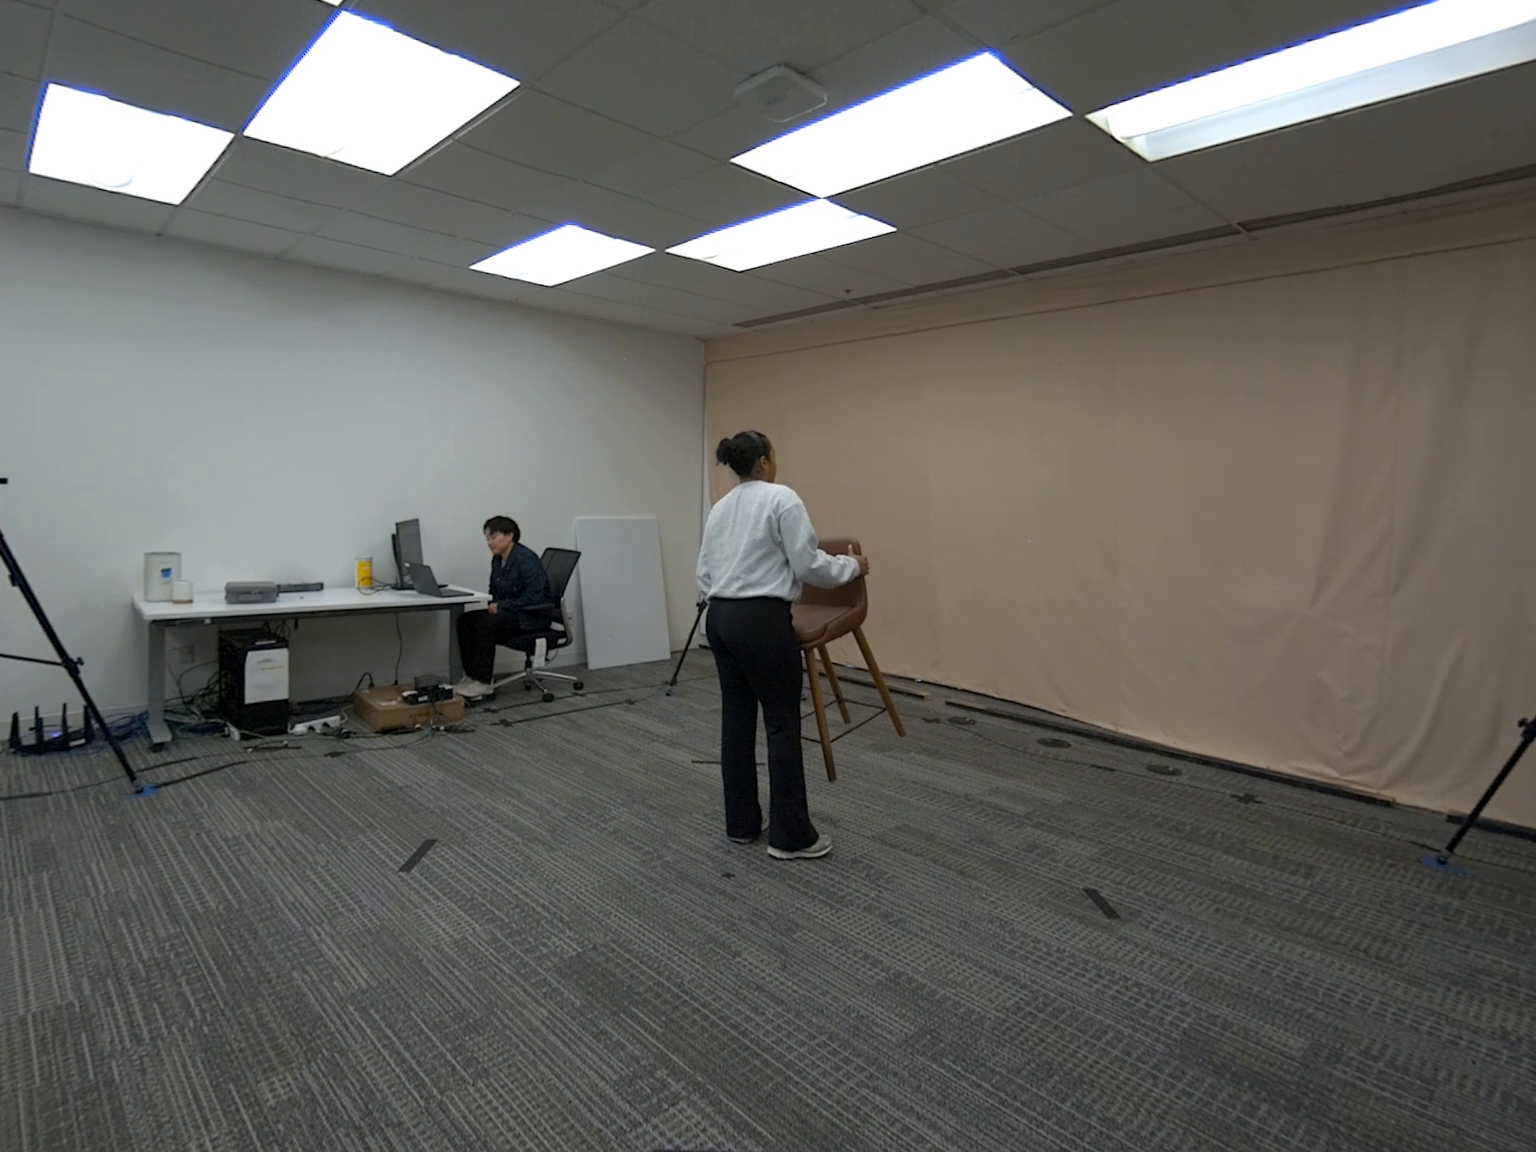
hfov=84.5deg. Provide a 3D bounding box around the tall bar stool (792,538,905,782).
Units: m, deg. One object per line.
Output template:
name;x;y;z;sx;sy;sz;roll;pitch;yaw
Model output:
tall bar stool;0.204;0.333;3.548;0.461;0.883;0.467;-19;11;-34
